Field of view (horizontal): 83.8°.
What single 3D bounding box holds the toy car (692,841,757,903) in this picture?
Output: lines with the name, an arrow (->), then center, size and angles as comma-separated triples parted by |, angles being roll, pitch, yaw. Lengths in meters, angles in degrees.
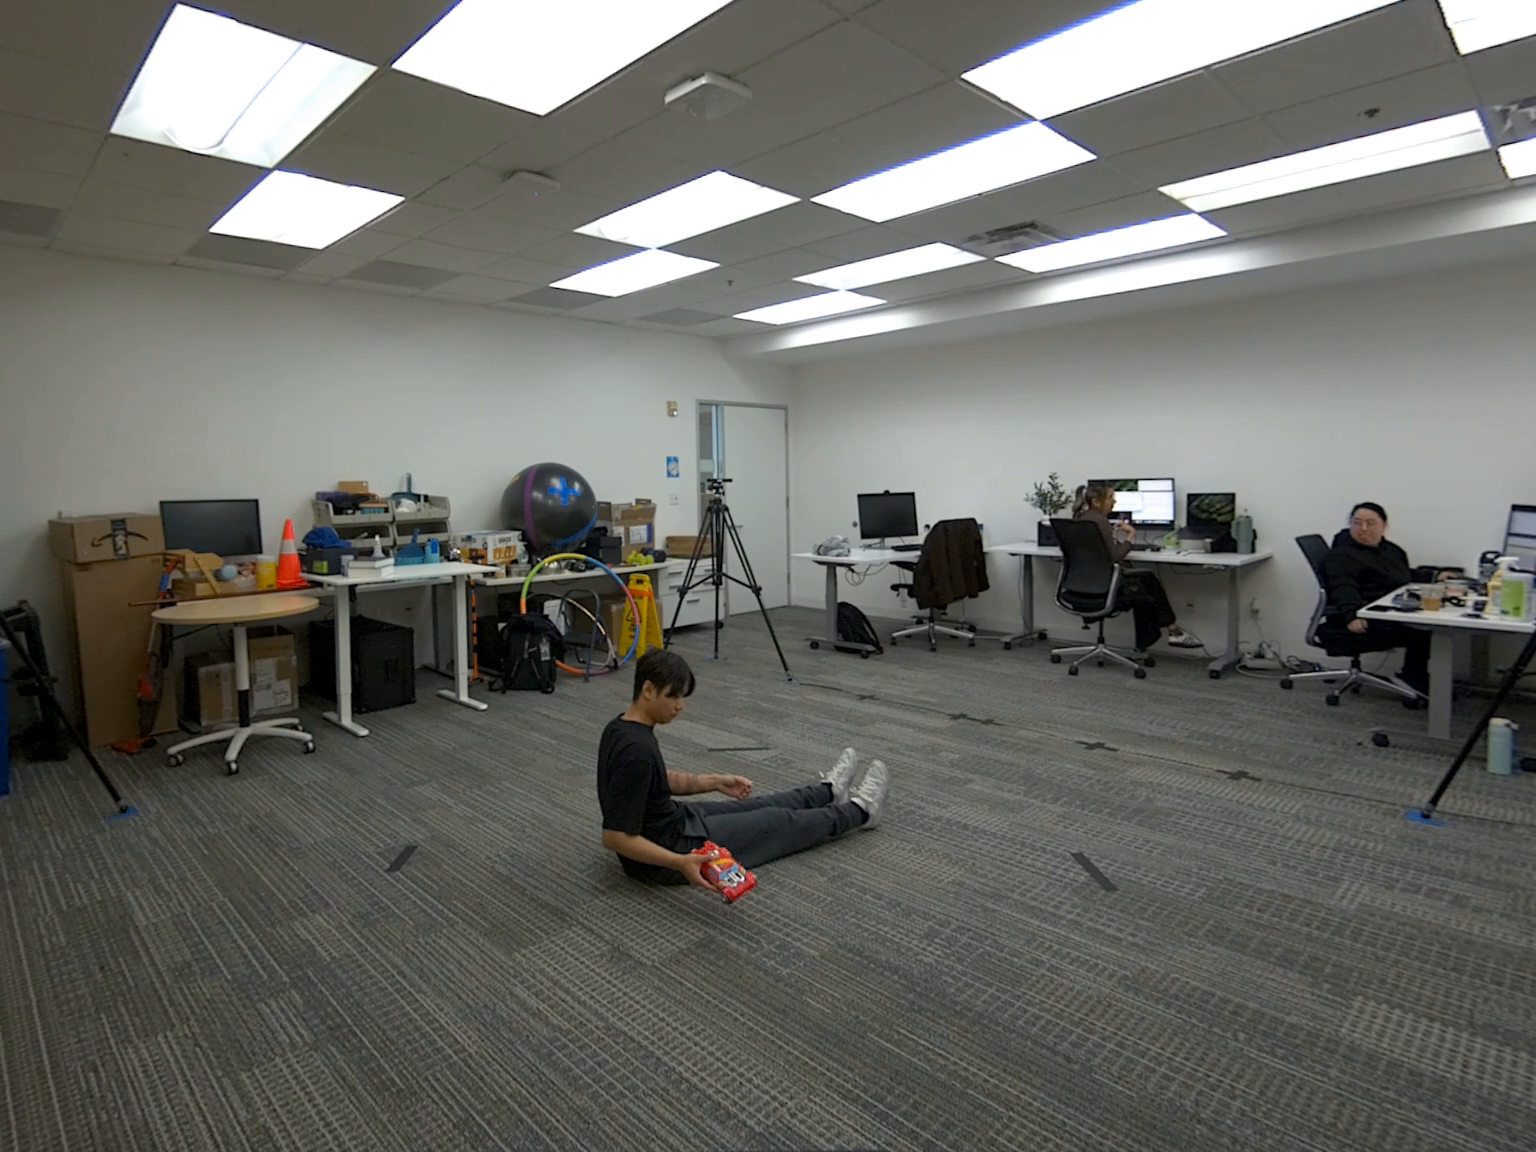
toy car -> -0.133, 0.935, 2.712 | 0.129, 0.081, 0.264 | -26, 36, -27
